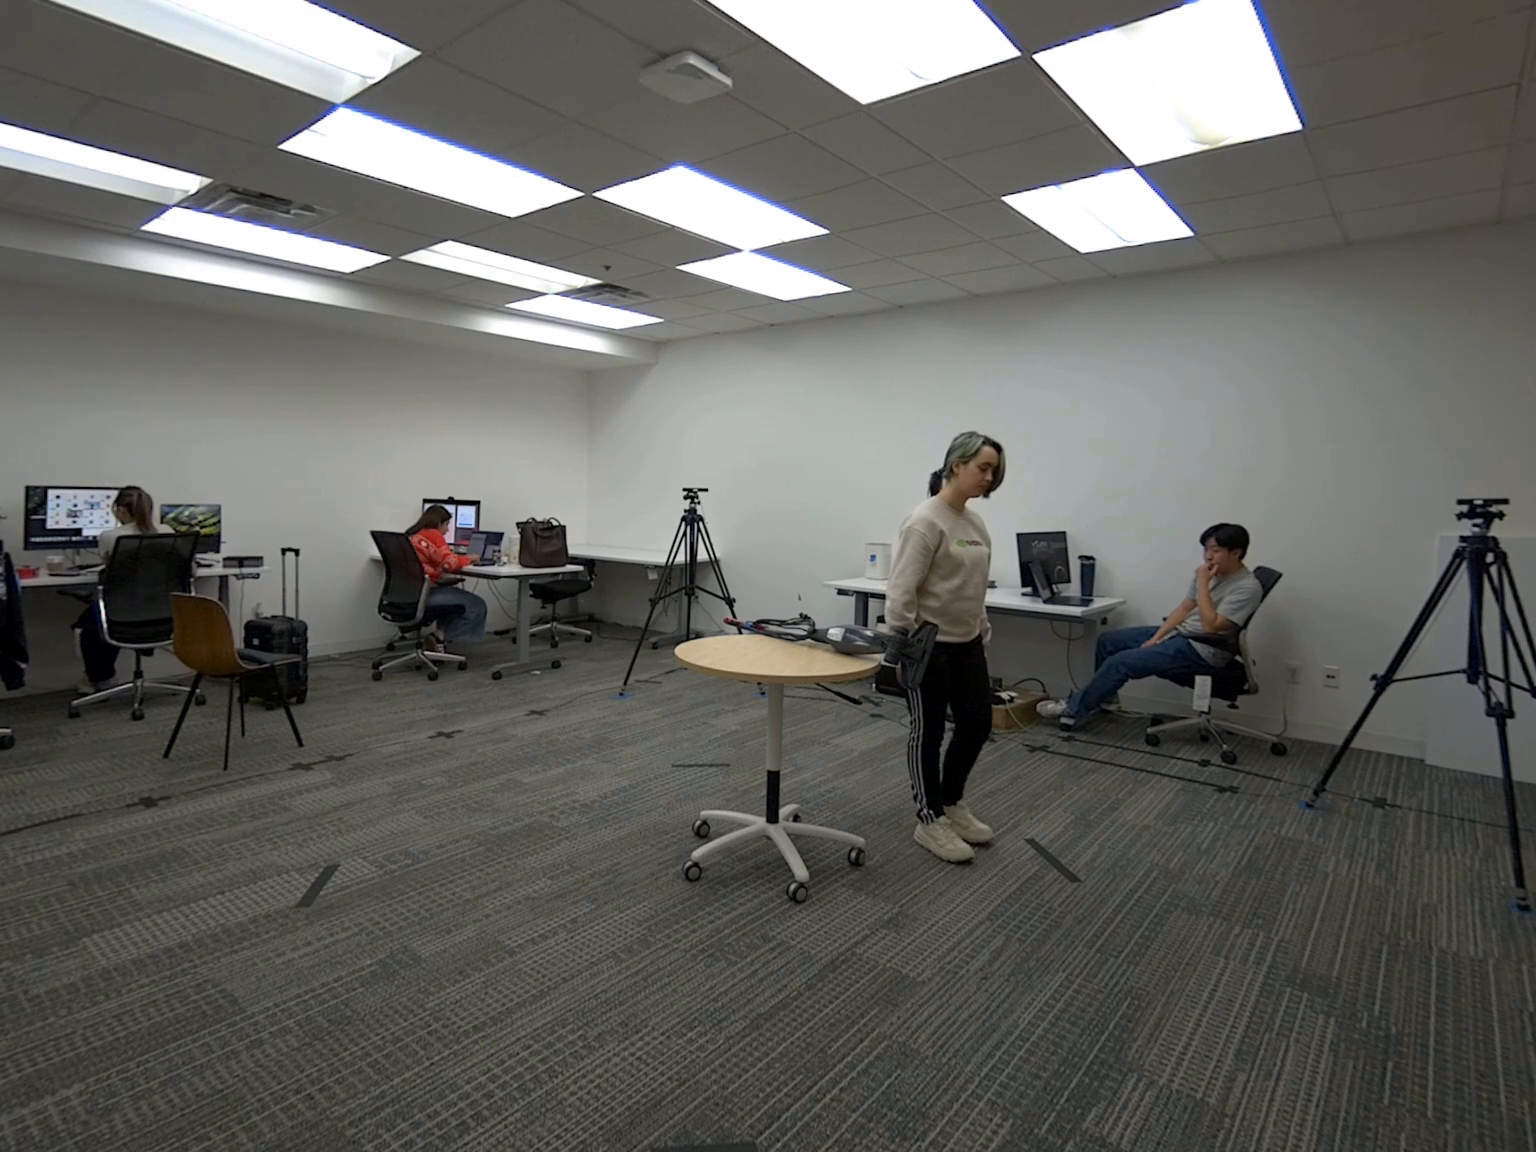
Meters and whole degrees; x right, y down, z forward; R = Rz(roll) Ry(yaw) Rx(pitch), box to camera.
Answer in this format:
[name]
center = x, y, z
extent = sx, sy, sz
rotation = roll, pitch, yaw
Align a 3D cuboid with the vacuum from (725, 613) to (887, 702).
[vacuum]
center = 0.148, 0.227, 3.382
extent = 0.138, 0.254, 1.085
rotation = 36, -18, -36
